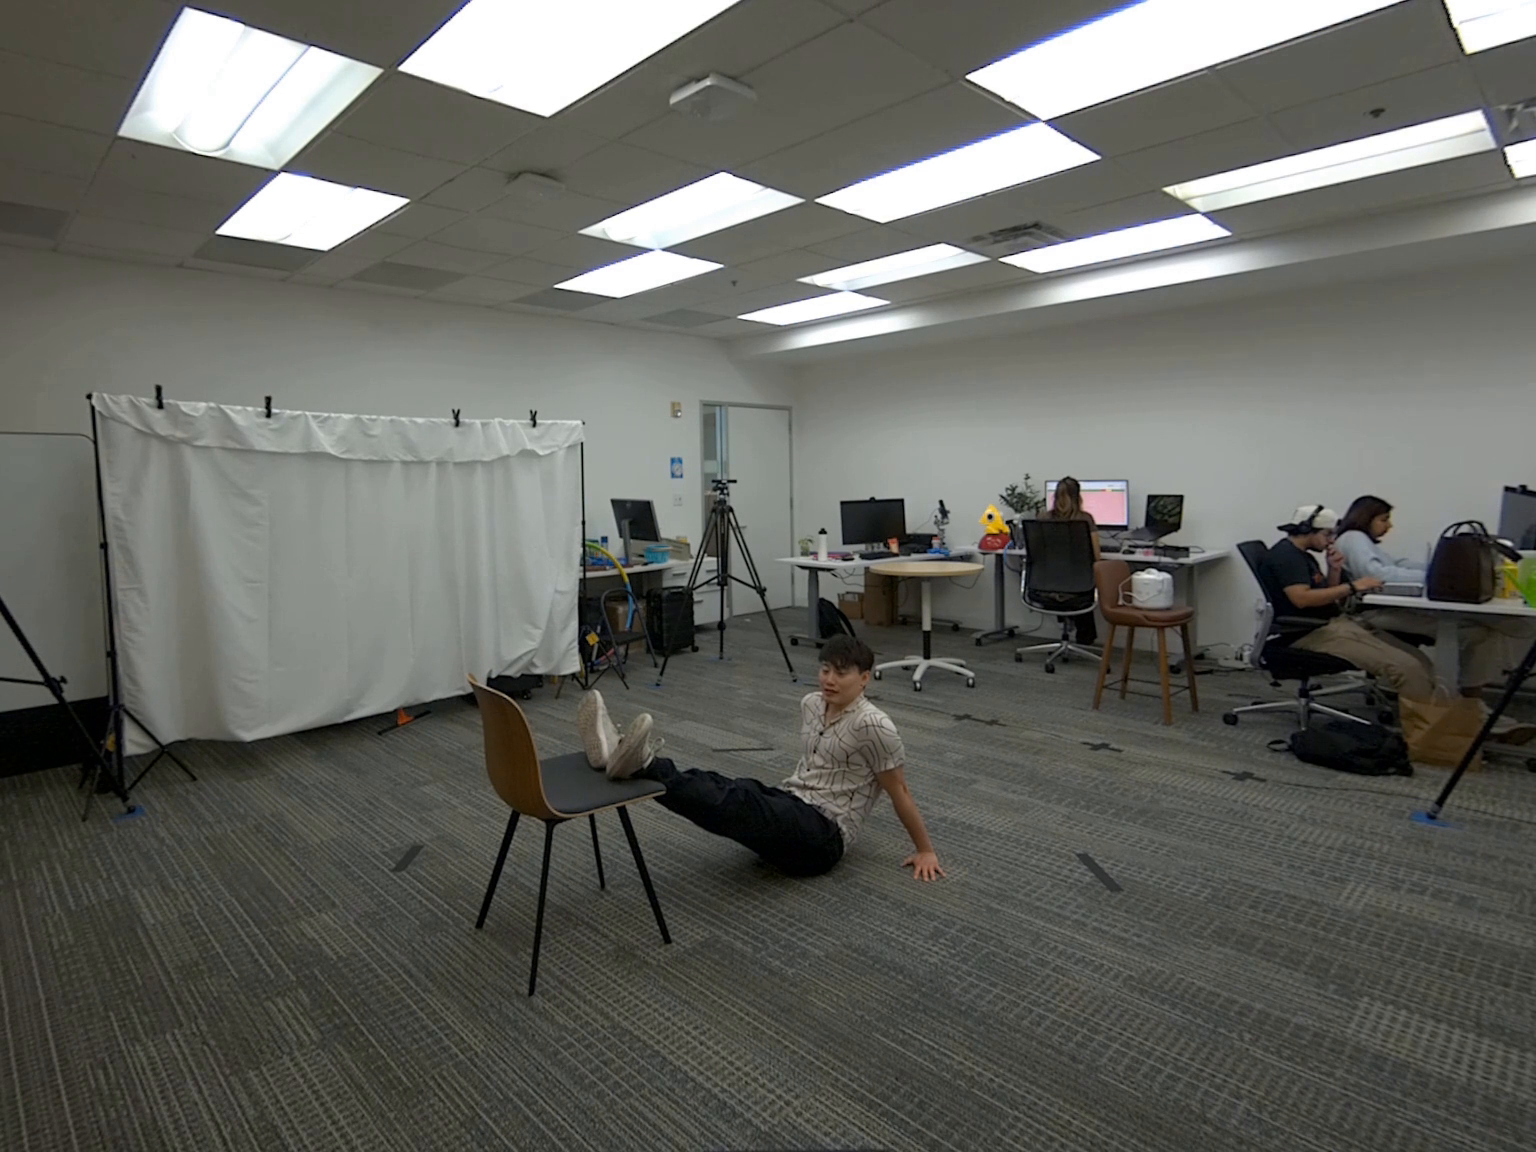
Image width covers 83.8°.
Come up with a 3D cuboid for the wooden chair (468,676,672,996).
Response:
[{"bbox_3d":[-0.605,0.687,2.614,0.511,0.872,0.492,-9,8,-35],"label":"wooden chair"}]
